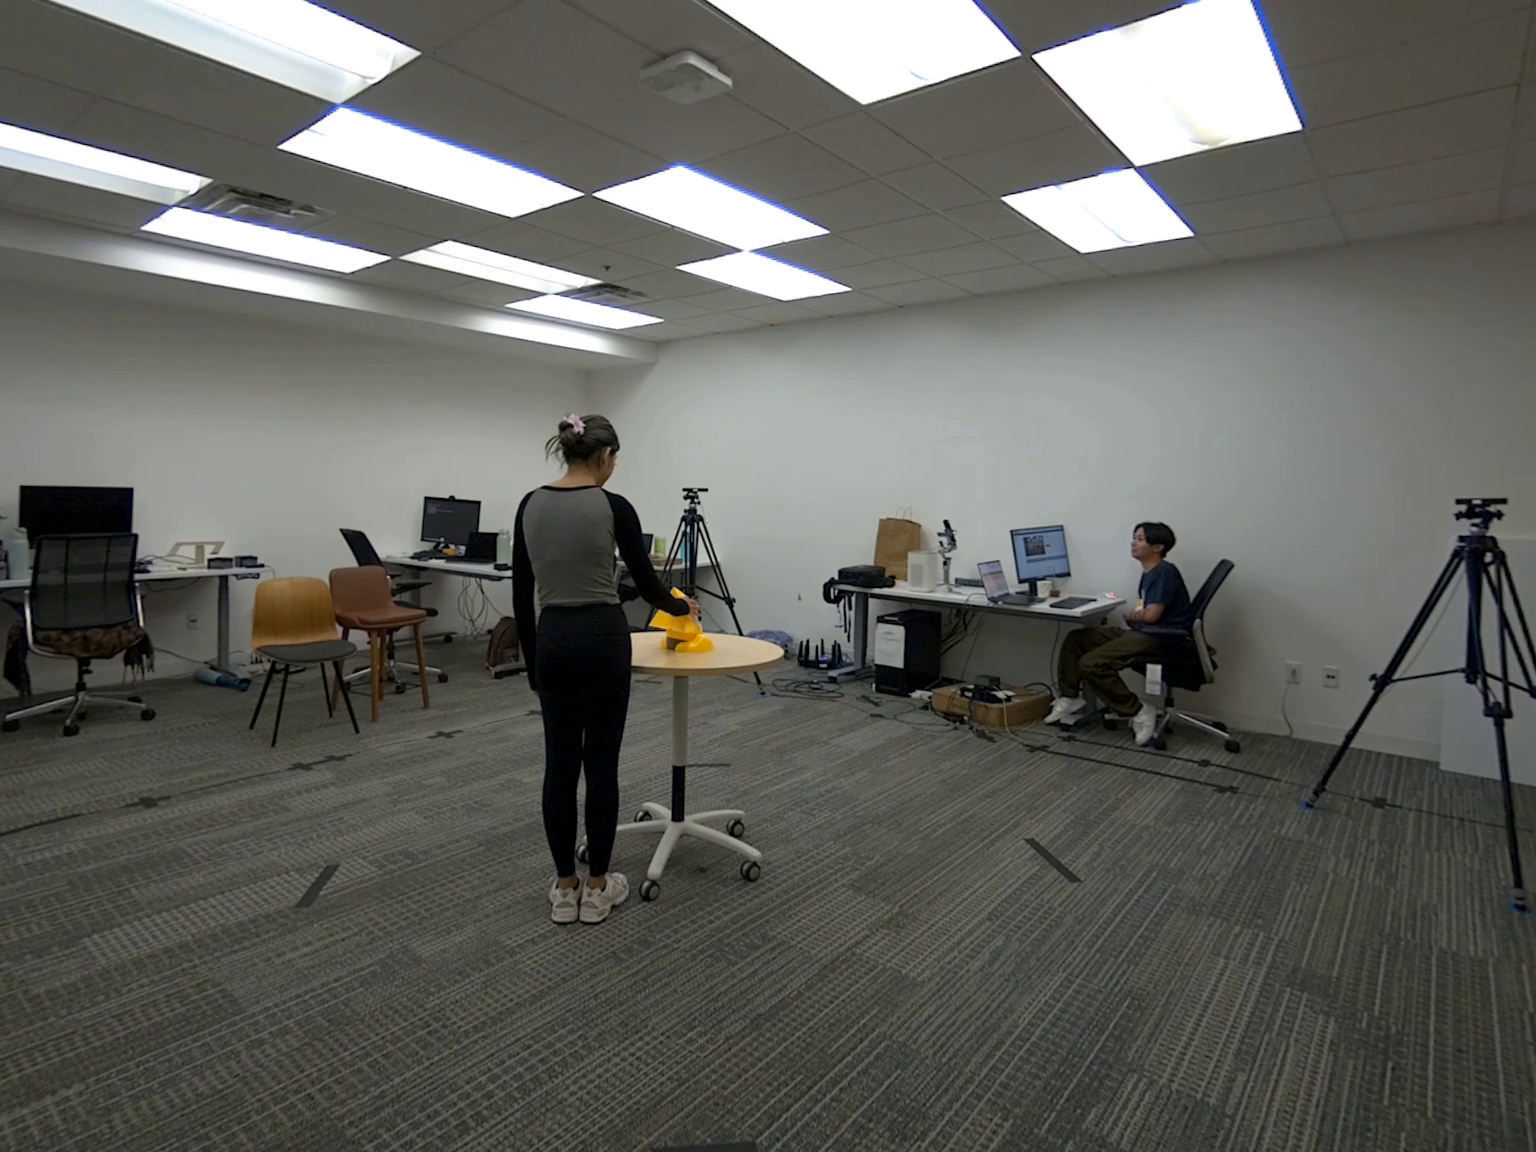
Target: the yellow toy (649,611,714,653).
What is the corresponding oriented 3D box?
[{"bbox_3d":[-0.321,0.153,3.189,0.212,0.230,0.187,4,4,43],"label":"yellow toy"}]
